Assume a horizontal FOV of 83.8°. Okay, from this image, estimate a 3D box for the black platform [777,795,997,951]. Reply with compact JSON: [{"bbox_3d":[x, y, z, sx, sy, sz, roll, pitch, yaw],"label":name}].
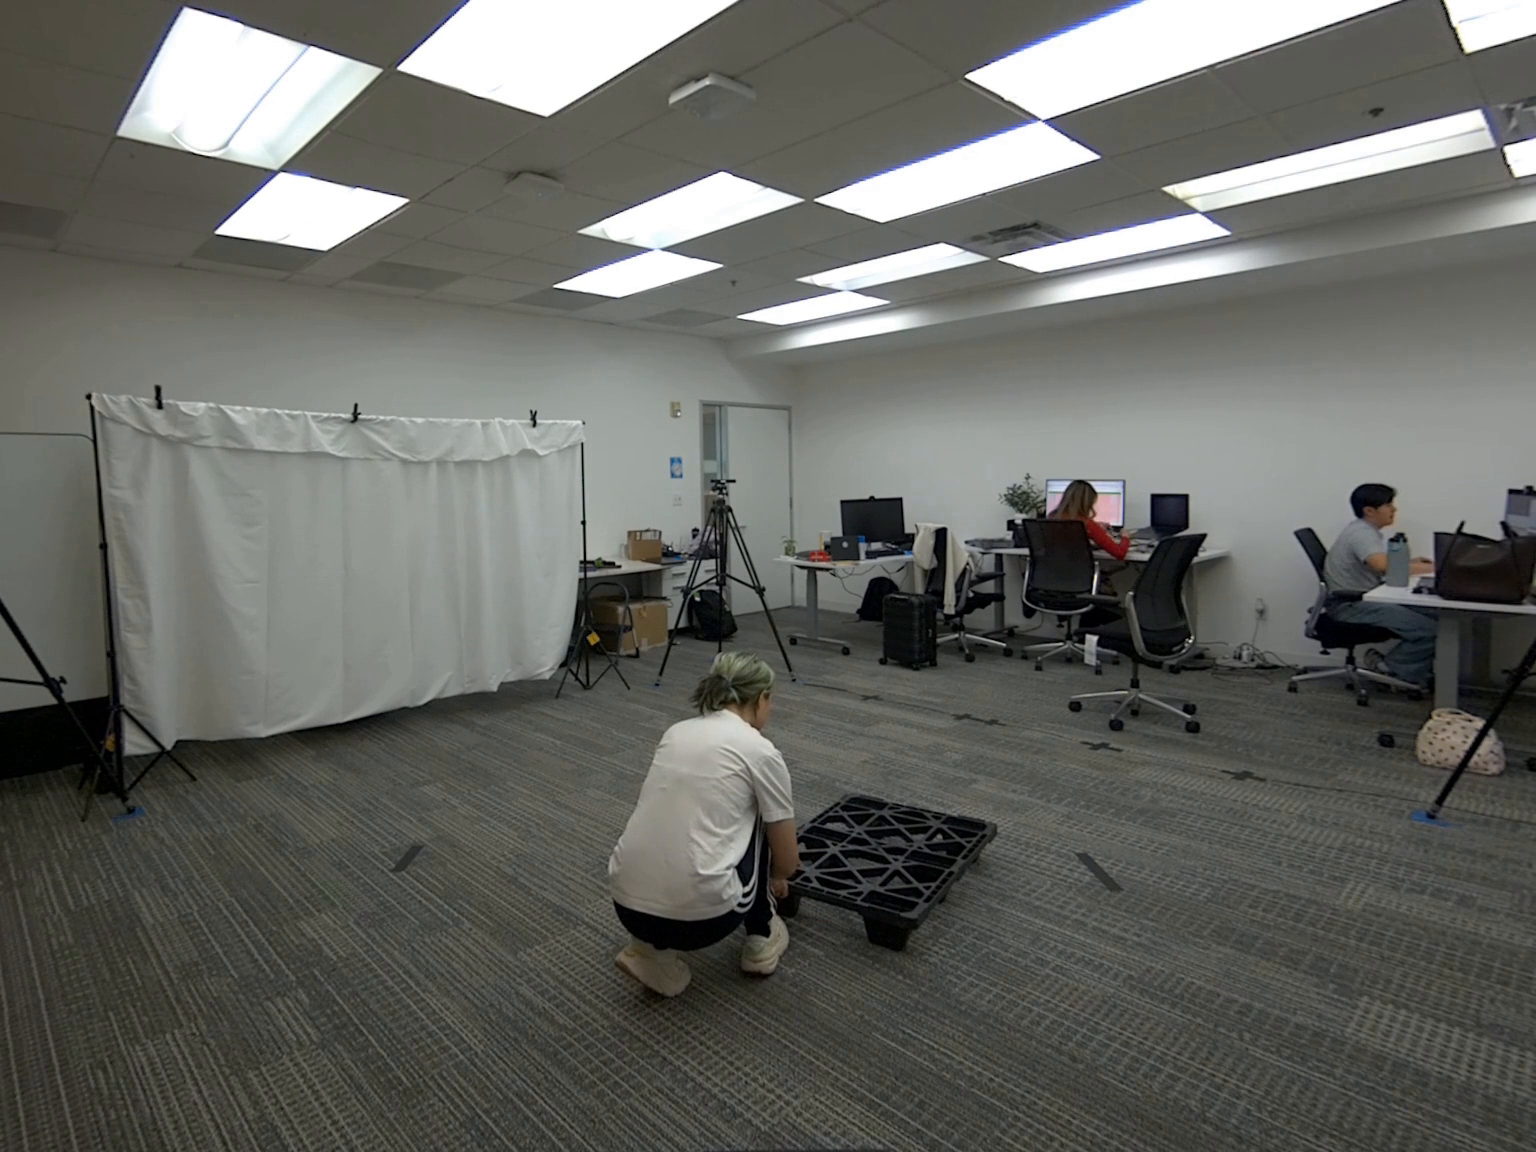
[{"bbox_3d":[0.383,0.991,2.945,0.622,0.142,0.787,3,8,32],"label":"black platform"}]
